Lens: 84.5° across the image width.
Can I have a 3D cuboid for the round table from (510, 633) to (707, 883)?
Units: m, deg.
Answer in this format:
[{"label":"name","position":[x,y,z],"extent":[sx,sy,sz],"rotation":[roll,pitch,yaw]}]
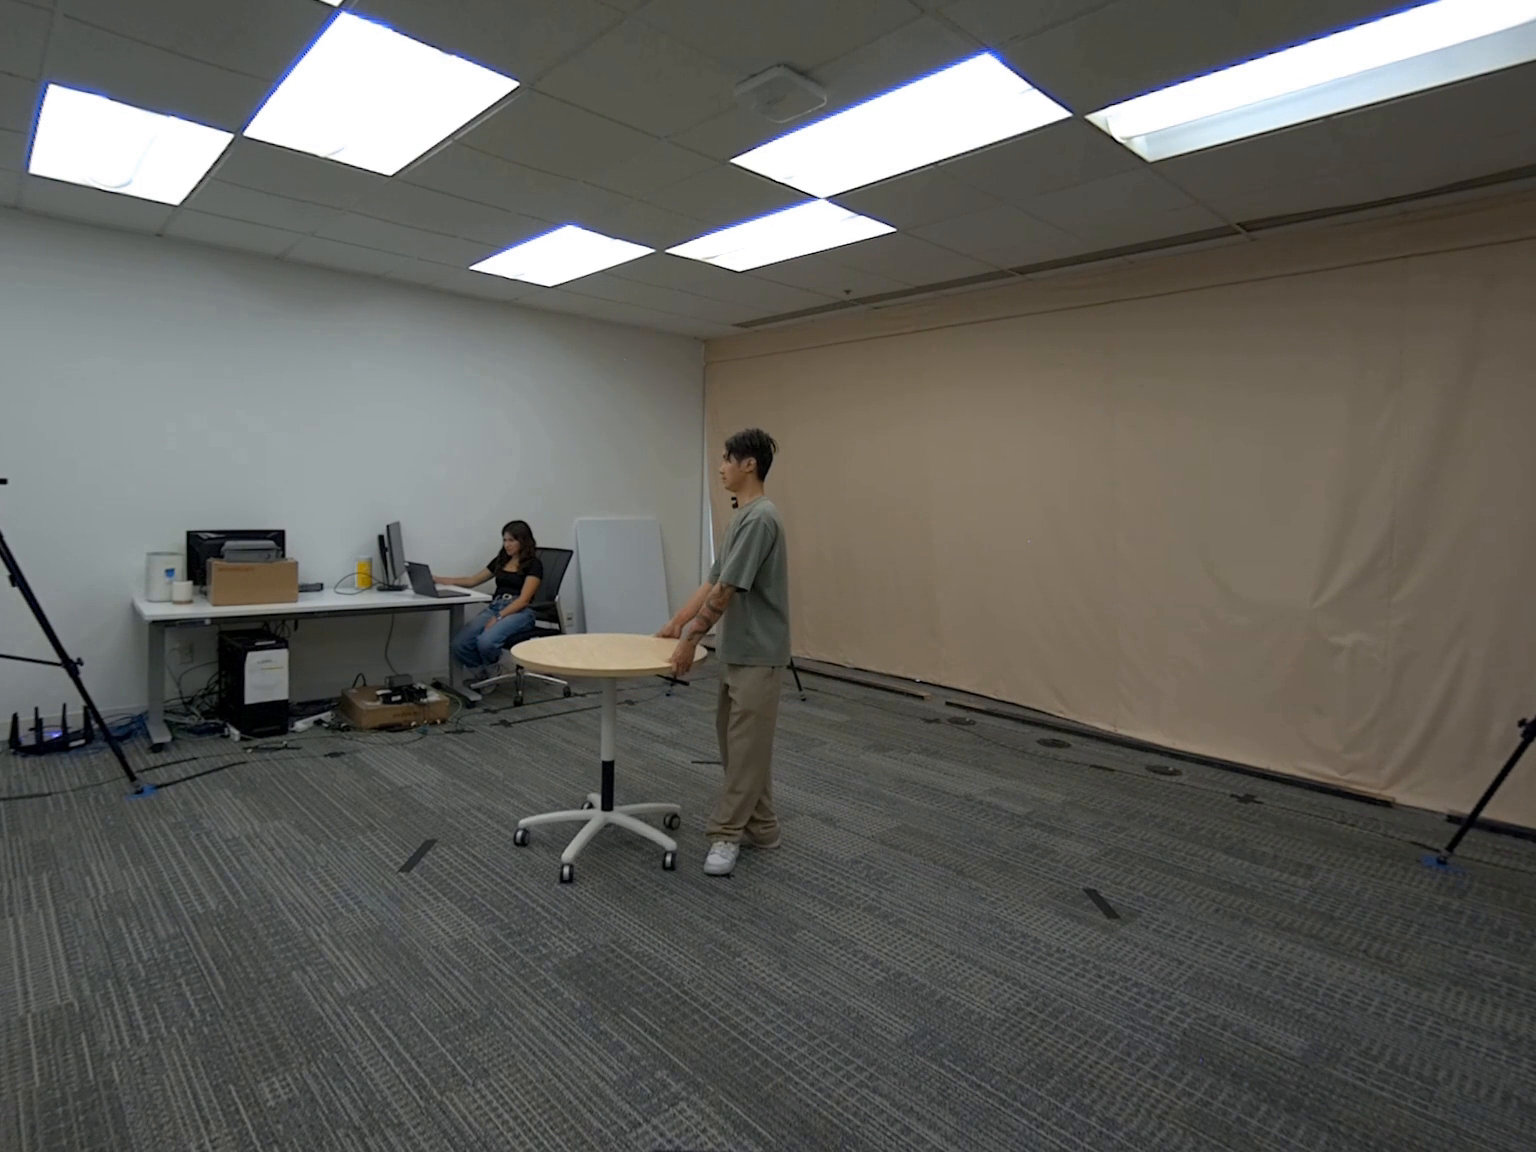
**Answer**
[{"label":"round table","position":[-0.651,0.676,3.342],"extent":[0.784,0.784,0.788],"rotation":[2,4,-2]}]
